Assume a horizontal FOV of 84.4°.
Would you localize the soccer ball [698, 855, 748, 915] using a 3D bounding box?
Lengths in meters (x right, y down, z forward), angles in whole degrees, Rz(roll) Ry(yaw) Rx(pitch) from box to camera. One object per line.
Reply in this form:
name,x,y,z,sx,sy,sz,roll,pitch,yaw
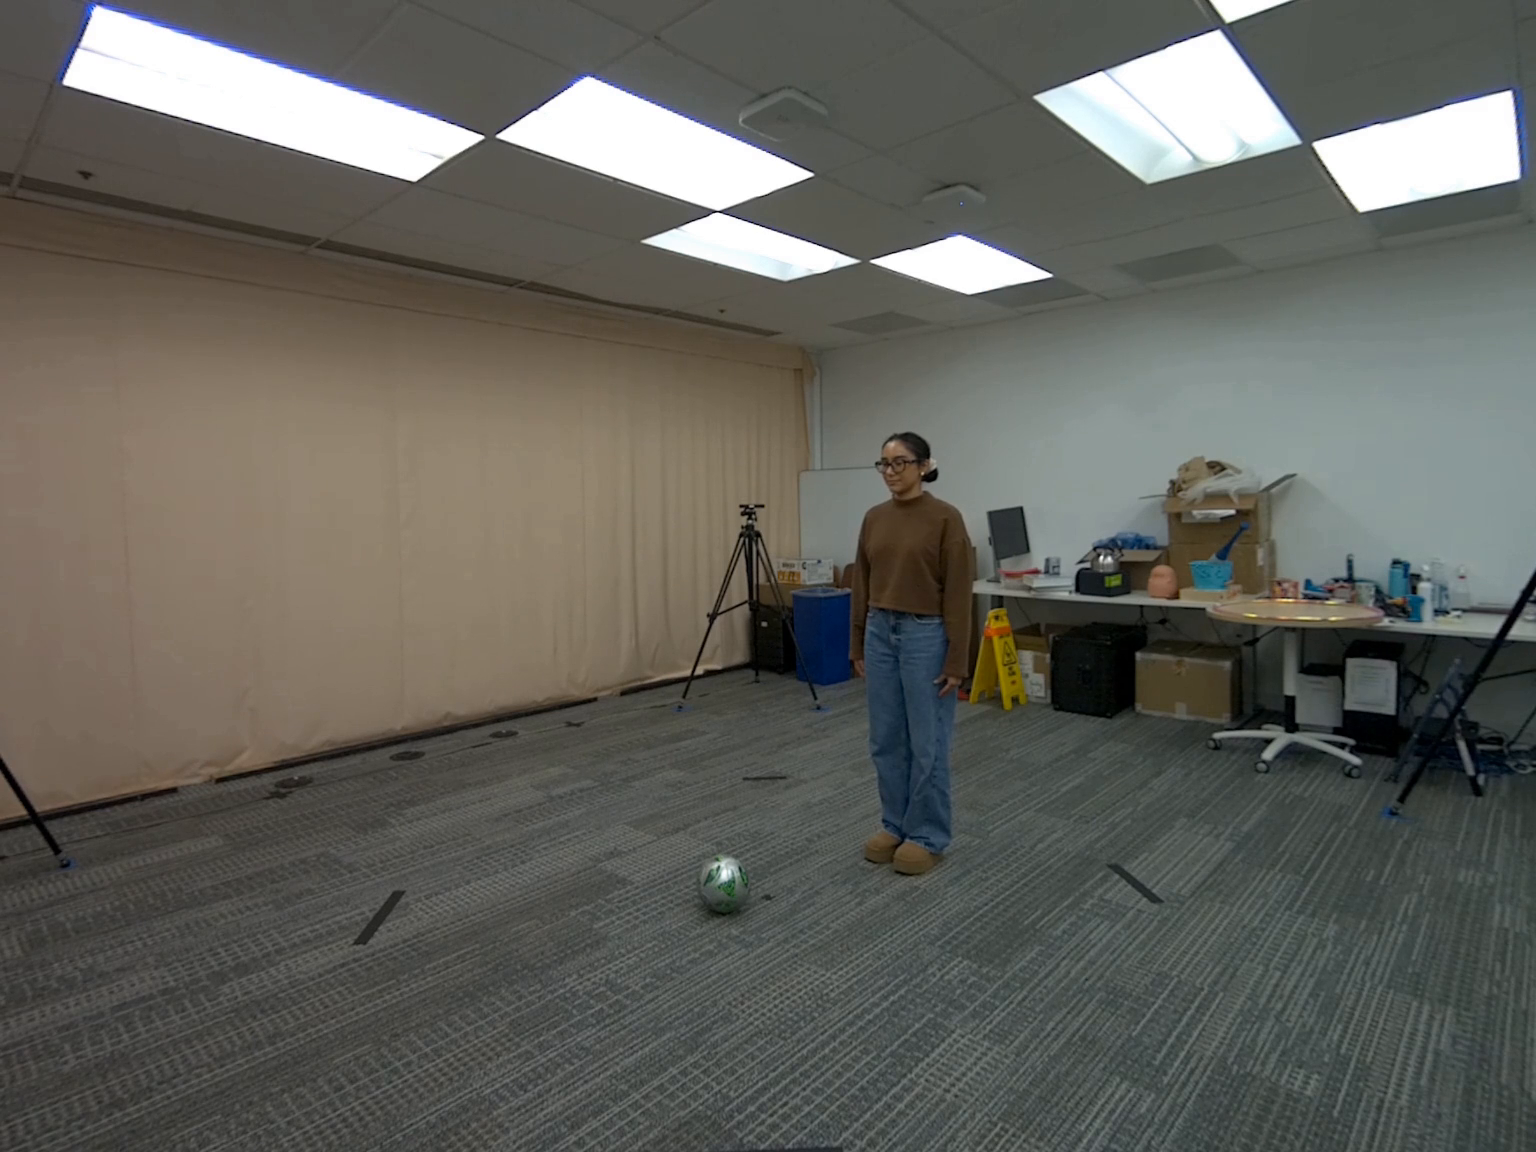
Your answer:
soccer ball,-0.151,1.054,2.892,0.187,0.187,0.188,-1,4,-2
